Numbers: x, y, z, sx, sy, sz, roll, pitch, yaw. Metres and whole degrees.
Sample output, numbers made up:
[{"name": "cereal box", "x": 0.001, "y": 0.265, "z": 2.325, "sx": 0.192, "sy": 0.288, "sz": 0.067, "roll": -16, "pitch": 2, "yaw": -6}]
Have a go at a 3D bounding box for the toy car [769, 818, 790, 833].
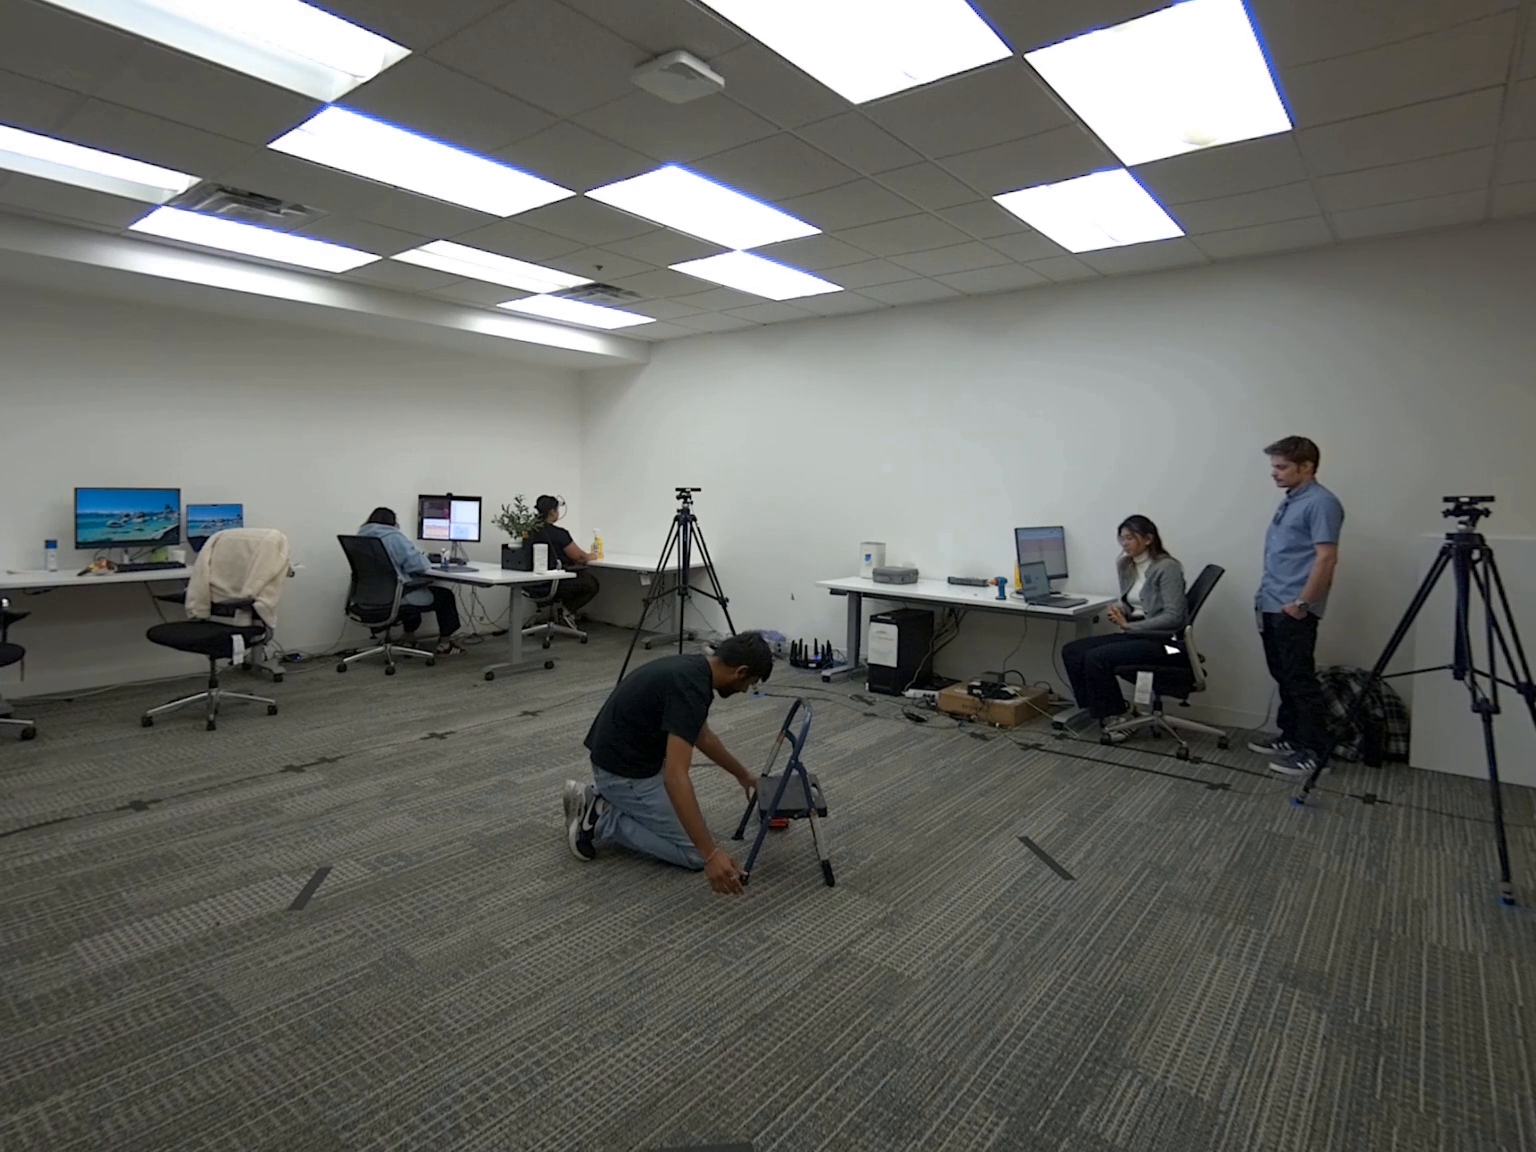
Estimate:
[{"name": "toy car", "x": 0.019, "y": 0.993, "z": 3.554, "sx": 0.130, "sy": 0.084, "sz": 0.253, "roll": 1, "pitch": -5, "yaw": -3}]
